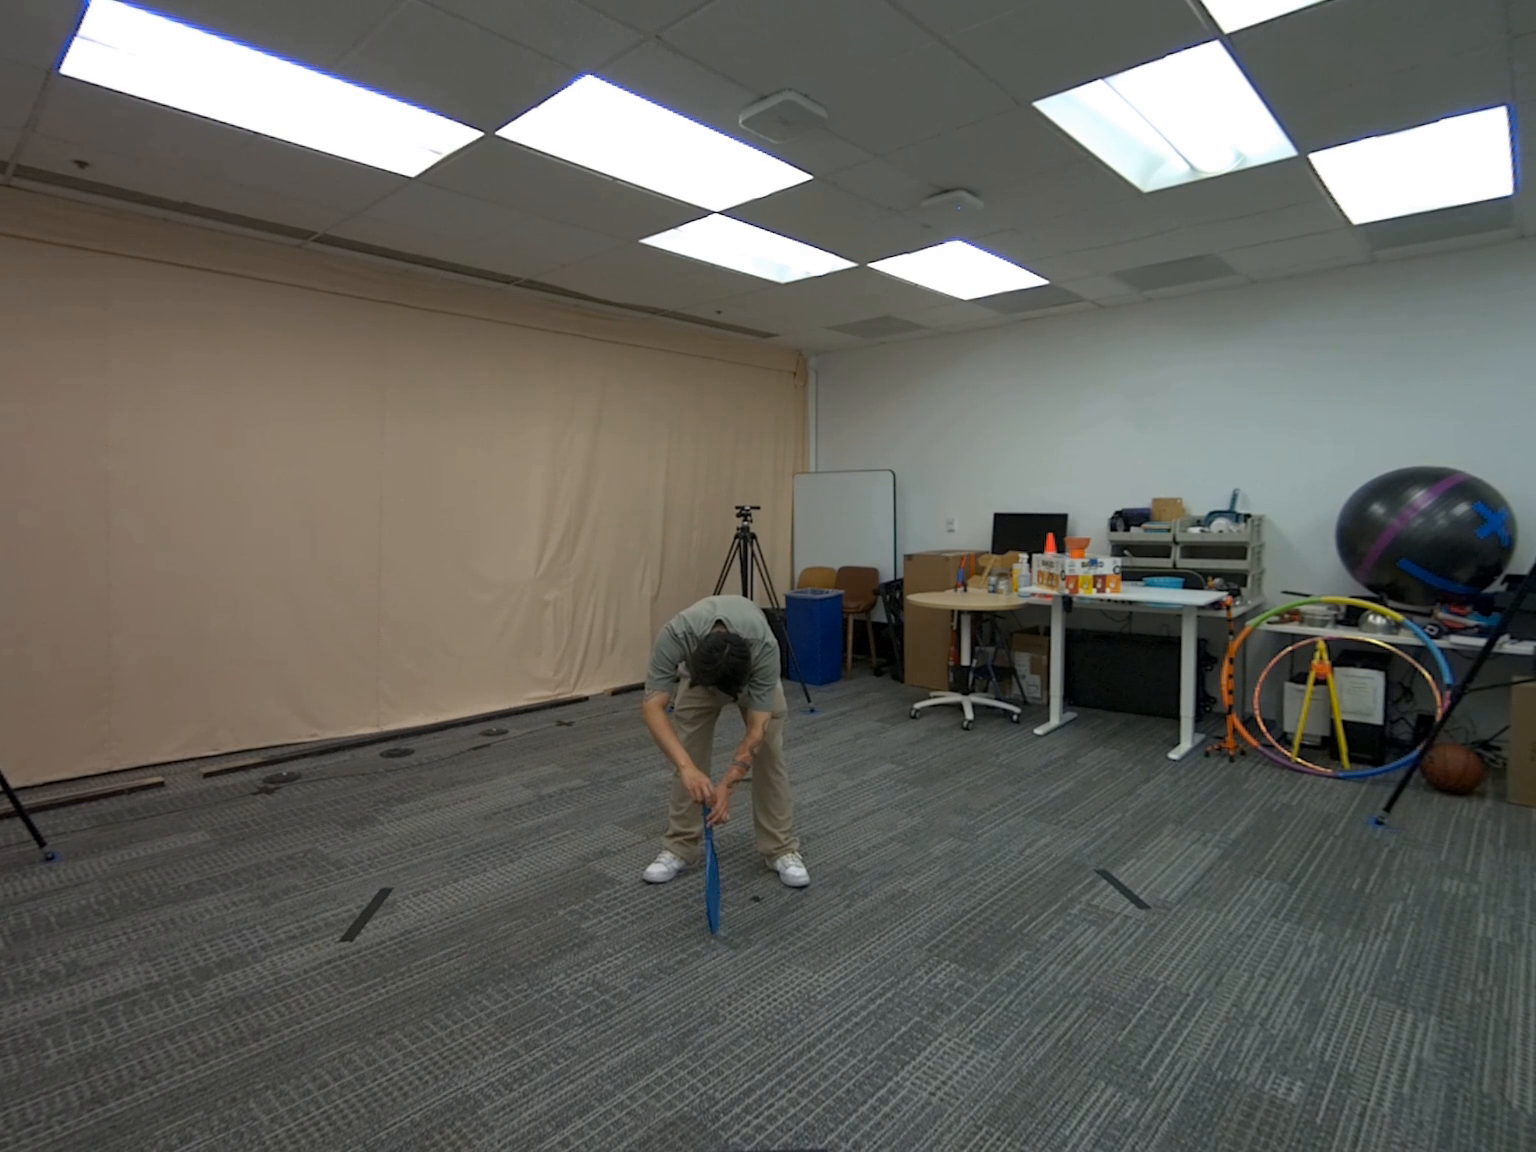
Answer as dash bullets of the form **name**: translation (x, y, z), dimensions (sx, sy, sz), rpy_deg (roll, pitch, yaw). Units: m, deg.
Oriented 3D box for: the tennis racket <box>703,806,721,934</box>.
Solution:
- **tennis racket**: translation (-0.181, 0.952, 2.746), dimensions (0.032, 0.431, 0.212), rpy_deg (-4, 6, 8)
